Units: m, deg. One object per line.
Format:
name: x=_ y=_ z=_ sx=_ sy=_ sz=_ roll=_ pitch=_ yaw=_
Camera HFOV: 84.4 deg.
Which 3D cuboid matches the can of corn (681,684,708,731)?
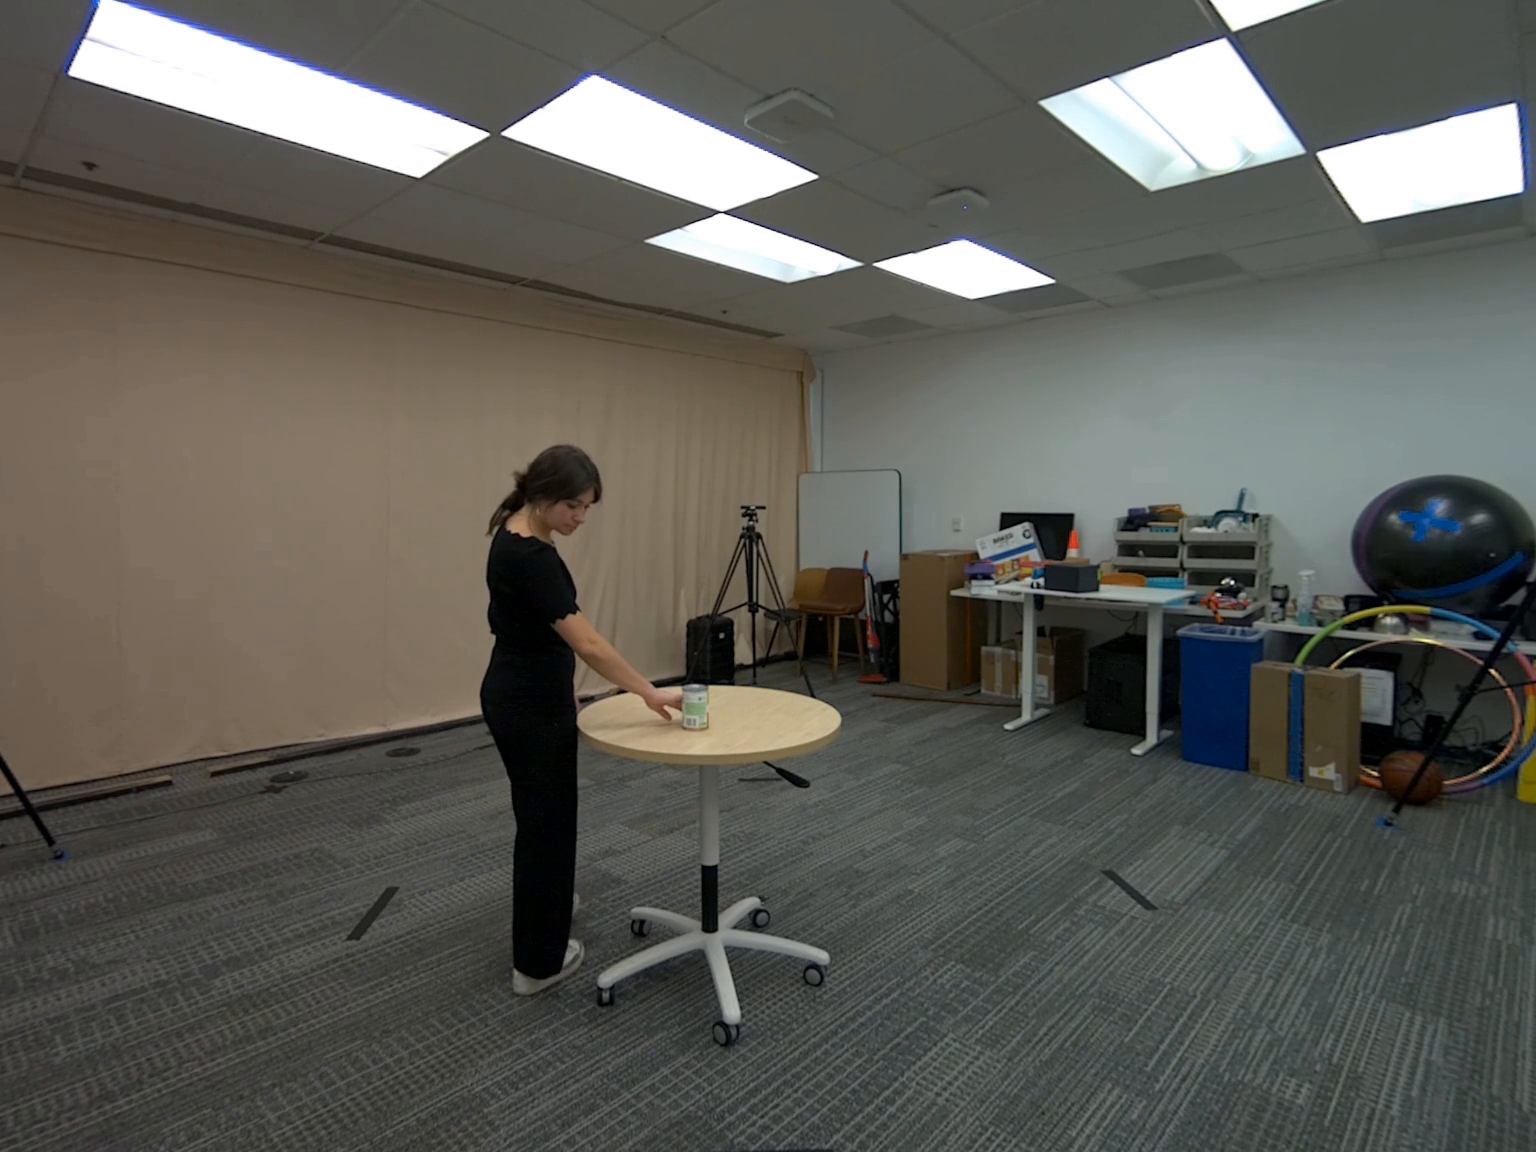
can of corn: x=-0.203 y=0.365 z=2.300 sx=0.074 sy=0.111 sz=0.074 roll=-3 pitch=5 yaw=-2
